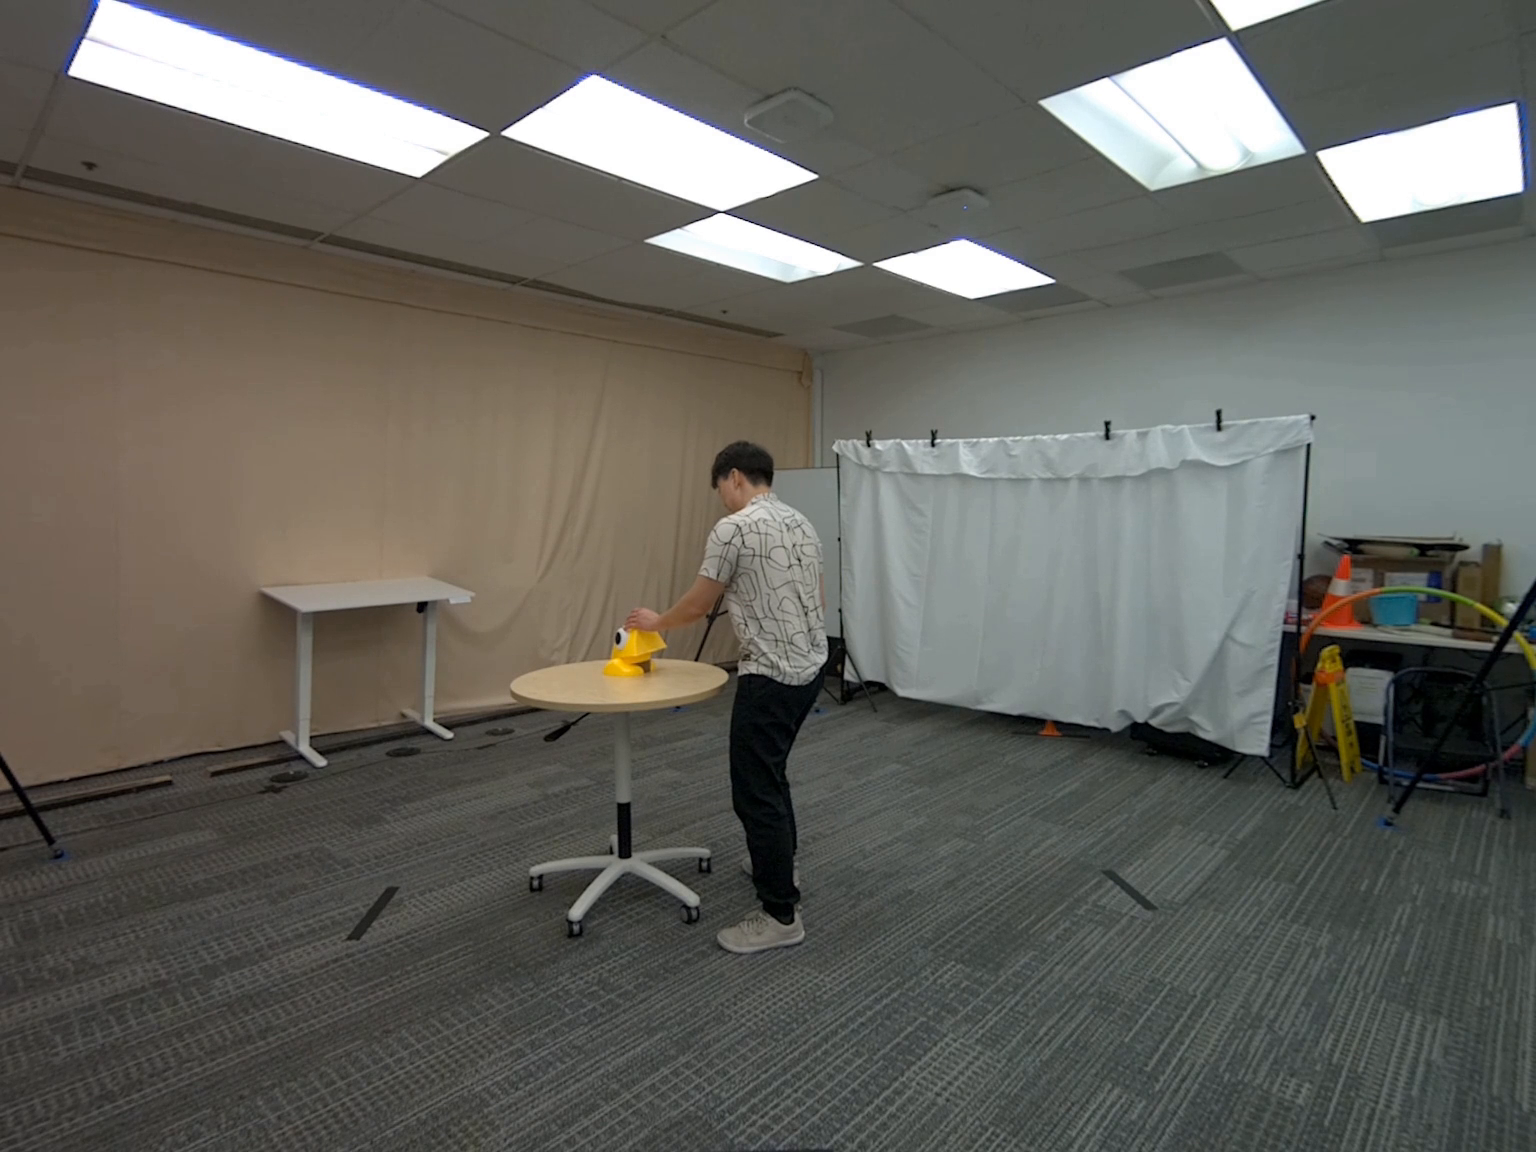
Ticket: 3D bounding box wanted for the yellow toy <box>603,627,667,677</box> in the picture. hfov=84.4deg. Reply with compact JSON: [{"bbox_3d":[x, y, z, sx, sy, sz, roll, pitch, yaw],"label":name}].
[{"bbox_3d":[-0.502,0.242,3.112,0.198,0.230,0.199,2,4,28],"label":"yellow toy"}]
